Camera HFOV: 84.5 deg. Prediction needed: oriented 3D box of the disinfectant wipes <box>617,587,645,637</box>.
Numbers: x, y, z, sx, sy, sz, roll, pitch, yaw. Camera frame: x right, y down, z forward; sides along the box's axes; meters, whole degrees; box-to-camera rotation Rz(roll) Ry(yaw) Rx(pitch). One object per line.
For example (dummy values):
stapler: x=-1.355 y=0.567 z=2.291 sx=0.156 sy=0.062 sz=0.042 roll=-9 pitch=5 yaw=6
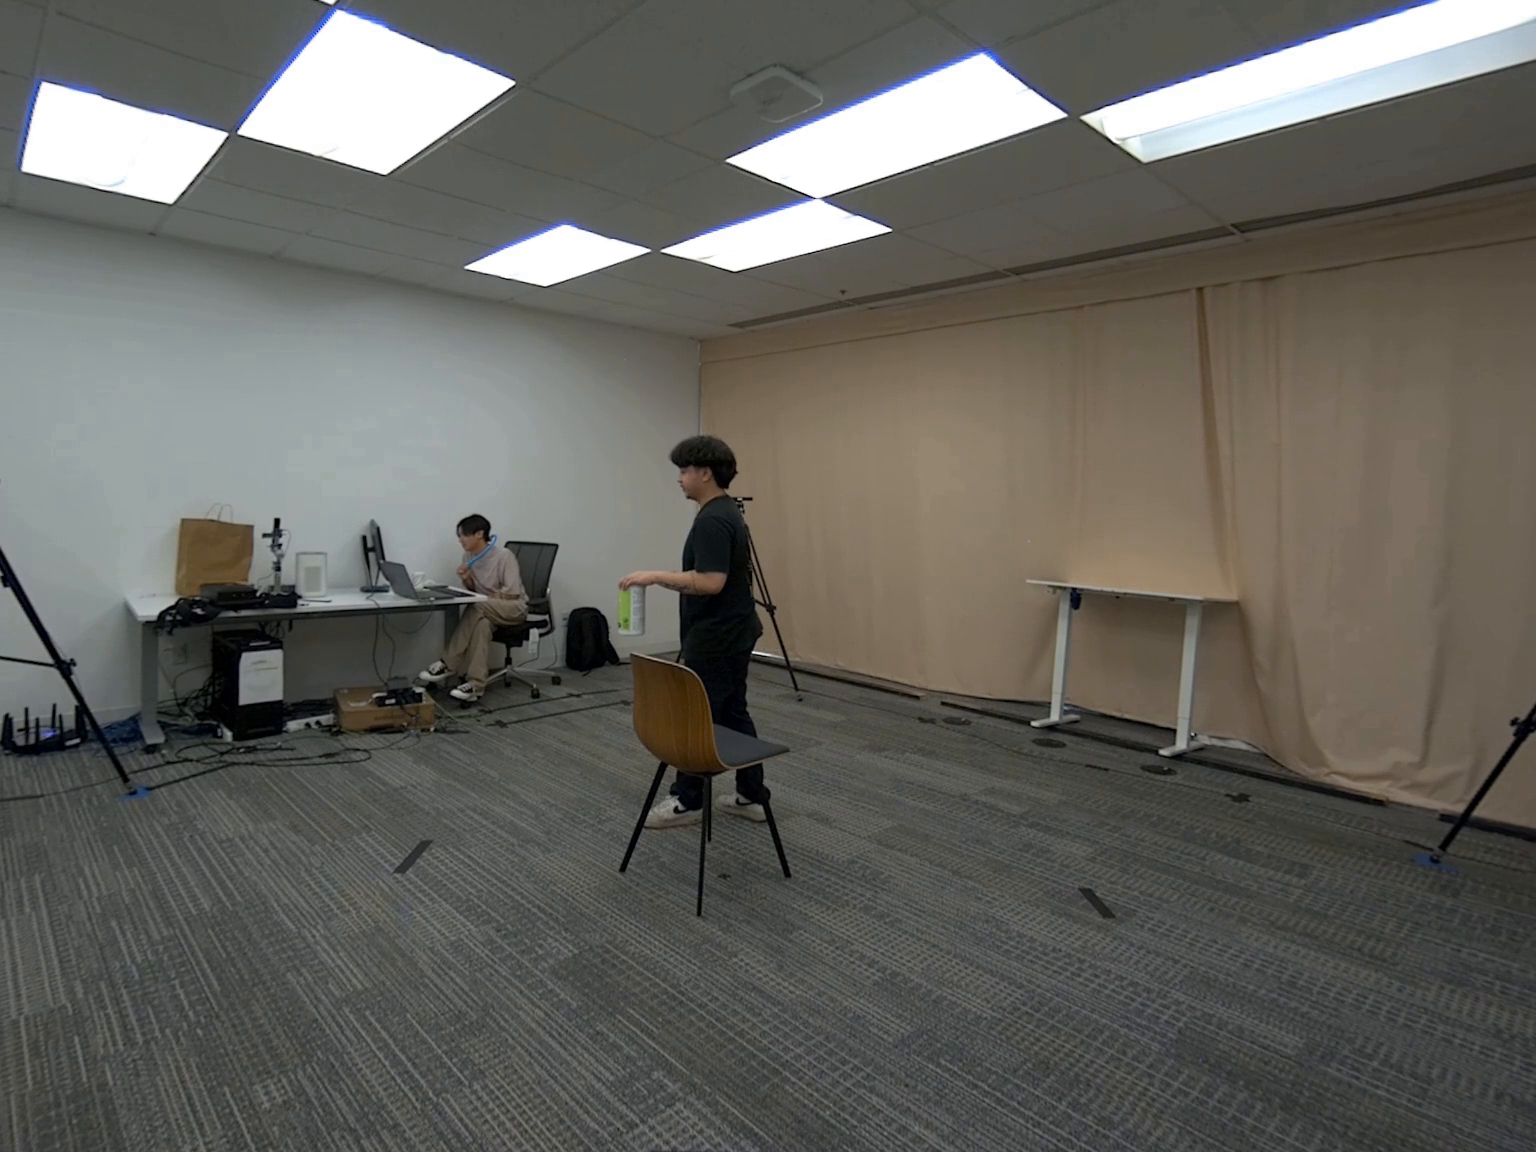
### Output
disinfectant wipes: x=-0.563 y=0.130 z=3.445 sx=0.118 sy=0.217 sz=0.118 roll=4 pitch=2 yaw=-2
